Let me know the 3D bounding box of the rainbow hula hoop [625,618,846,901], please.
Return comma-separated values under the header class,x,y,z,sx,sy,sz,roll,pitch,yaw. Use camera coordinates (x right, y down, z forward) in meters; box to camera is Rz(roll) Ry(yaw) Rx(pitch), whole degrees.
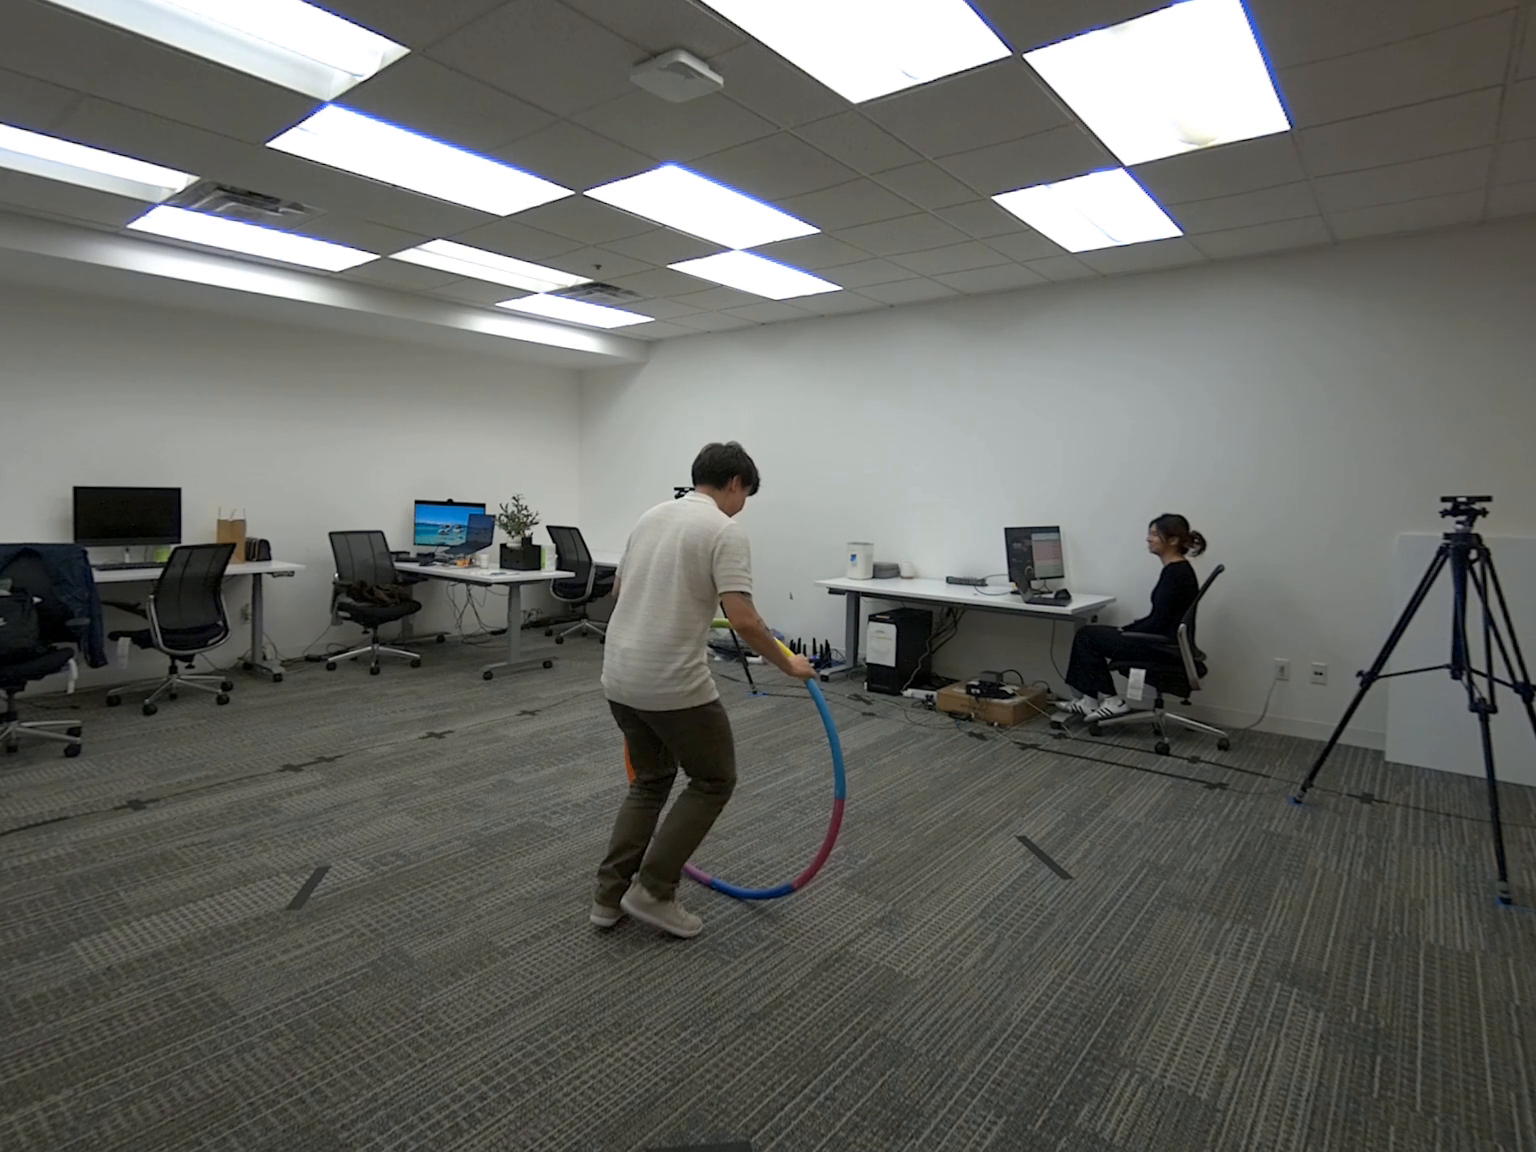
class,x,y,z,sx,sy,sz,roll,pitch,yaw
rainbow hula hoop,-0.171,0.620,2.955,1.012,0.979,0.034,4,0,42
